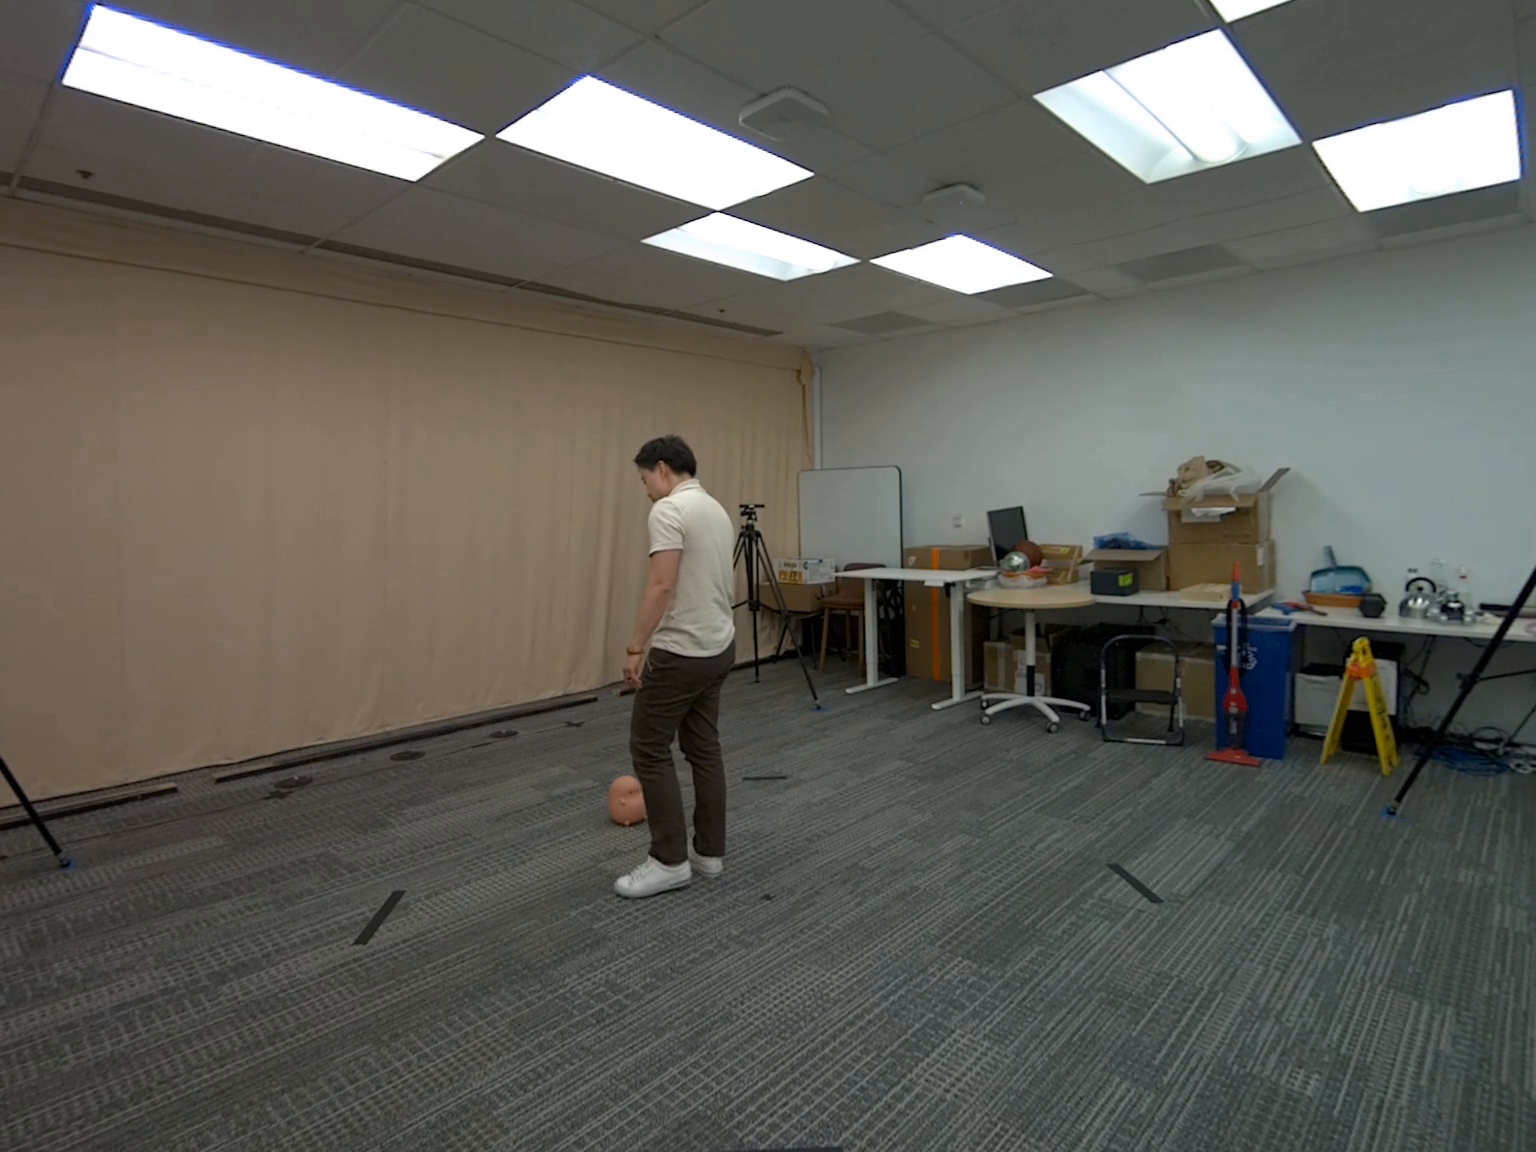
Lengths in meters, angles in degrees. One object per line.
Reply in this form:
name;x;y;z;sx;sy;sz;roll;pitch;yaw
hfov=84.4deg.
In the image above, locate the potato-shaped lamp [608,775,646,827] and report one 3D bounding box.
potato-shaped lamp;-0.626;0.986;3.739;0.160;0.197;0.177;-9;7;-43
